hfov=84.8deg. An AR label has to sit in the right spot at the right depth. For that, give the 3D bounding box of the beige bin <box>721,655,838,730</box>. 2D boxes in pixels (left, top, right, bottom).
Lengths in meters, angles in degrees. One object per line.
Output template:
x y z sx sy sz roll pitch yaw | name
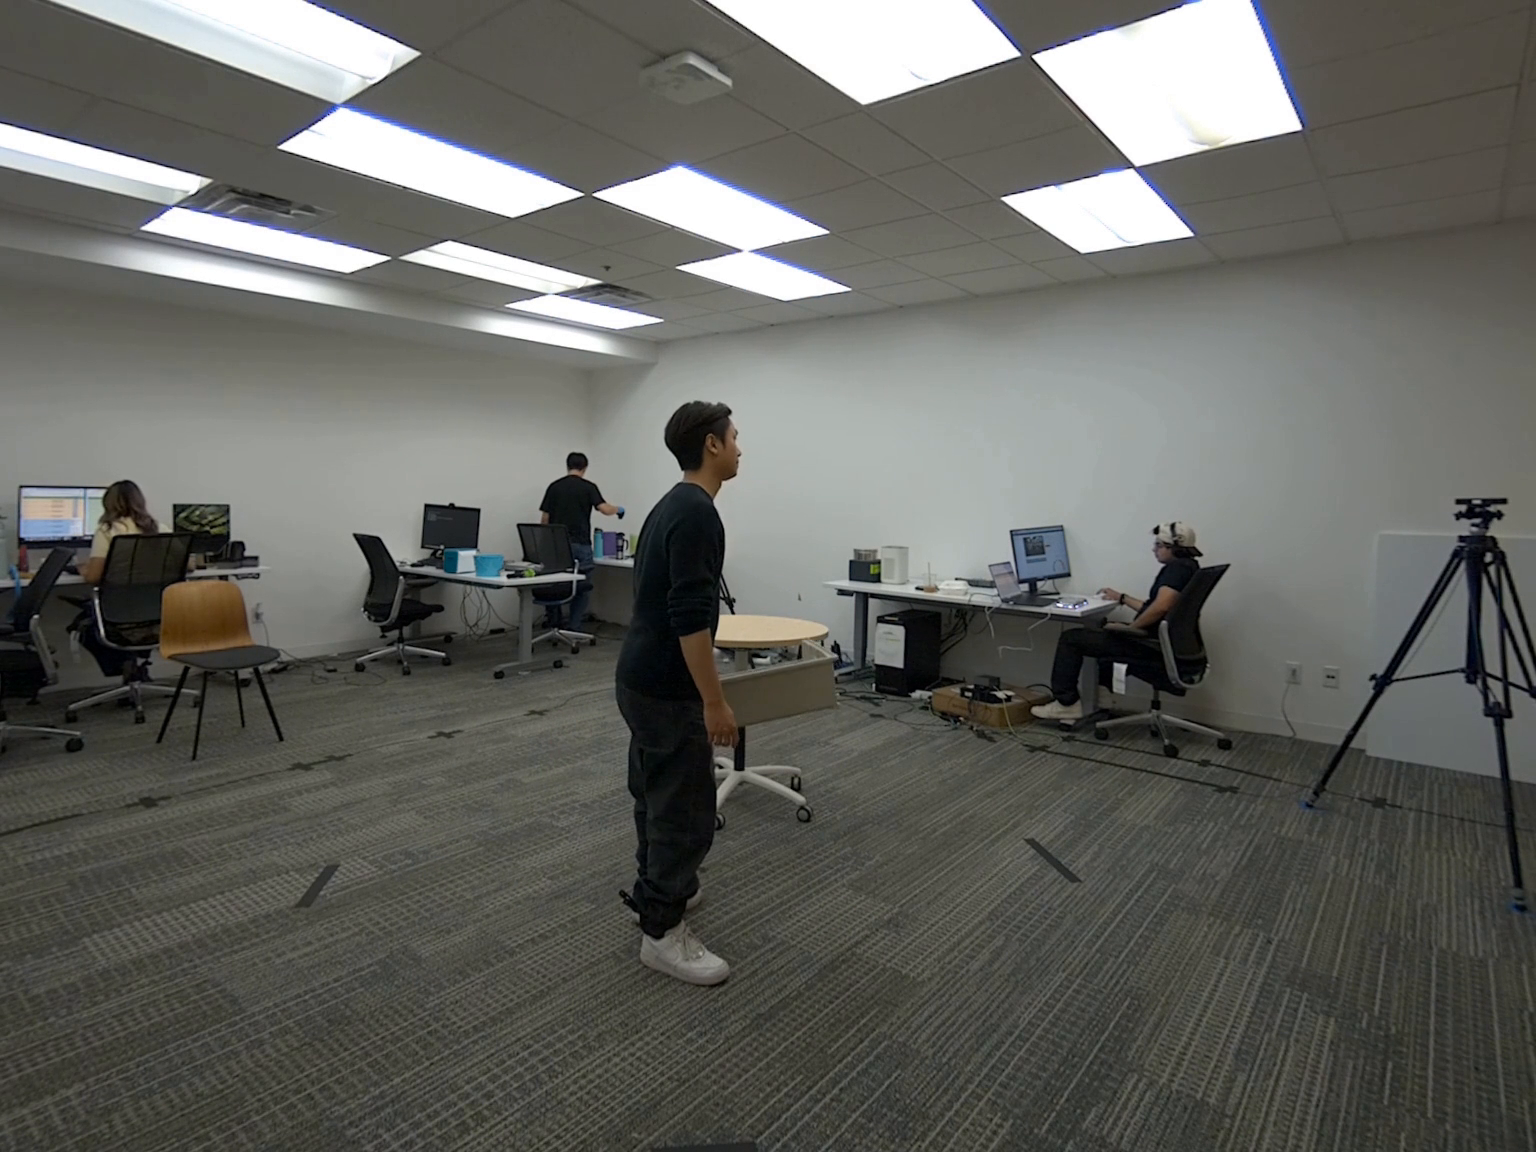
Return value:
-0.016 0.358 2.936 0.418 0.187 0.385 -9 9 -12 | beige bin
